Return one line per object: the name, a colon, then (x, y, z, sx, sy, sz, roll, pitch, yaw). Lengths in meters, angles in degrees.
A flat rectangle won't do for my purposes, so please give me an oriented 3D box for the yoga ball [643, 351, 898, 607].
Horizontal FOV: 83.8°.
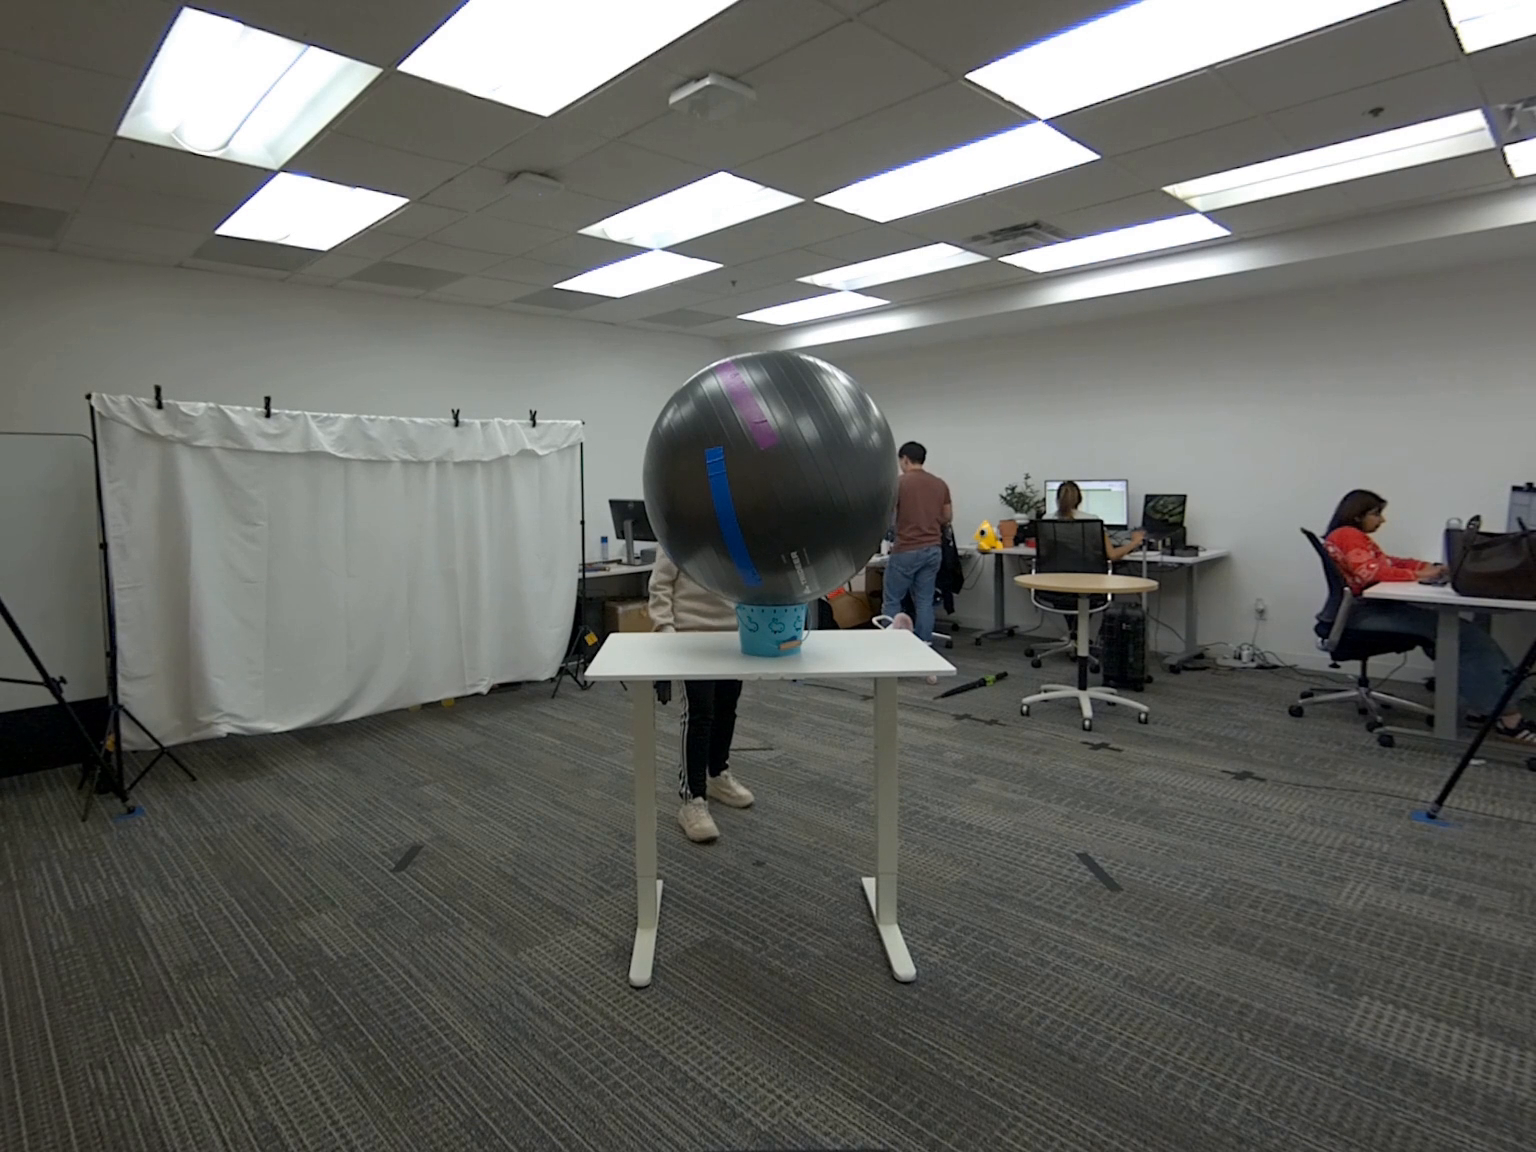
yoga ball: (0.008, -0.283, 2.545, 0.757, 0.755, 0.762, -1, 5, -2)
